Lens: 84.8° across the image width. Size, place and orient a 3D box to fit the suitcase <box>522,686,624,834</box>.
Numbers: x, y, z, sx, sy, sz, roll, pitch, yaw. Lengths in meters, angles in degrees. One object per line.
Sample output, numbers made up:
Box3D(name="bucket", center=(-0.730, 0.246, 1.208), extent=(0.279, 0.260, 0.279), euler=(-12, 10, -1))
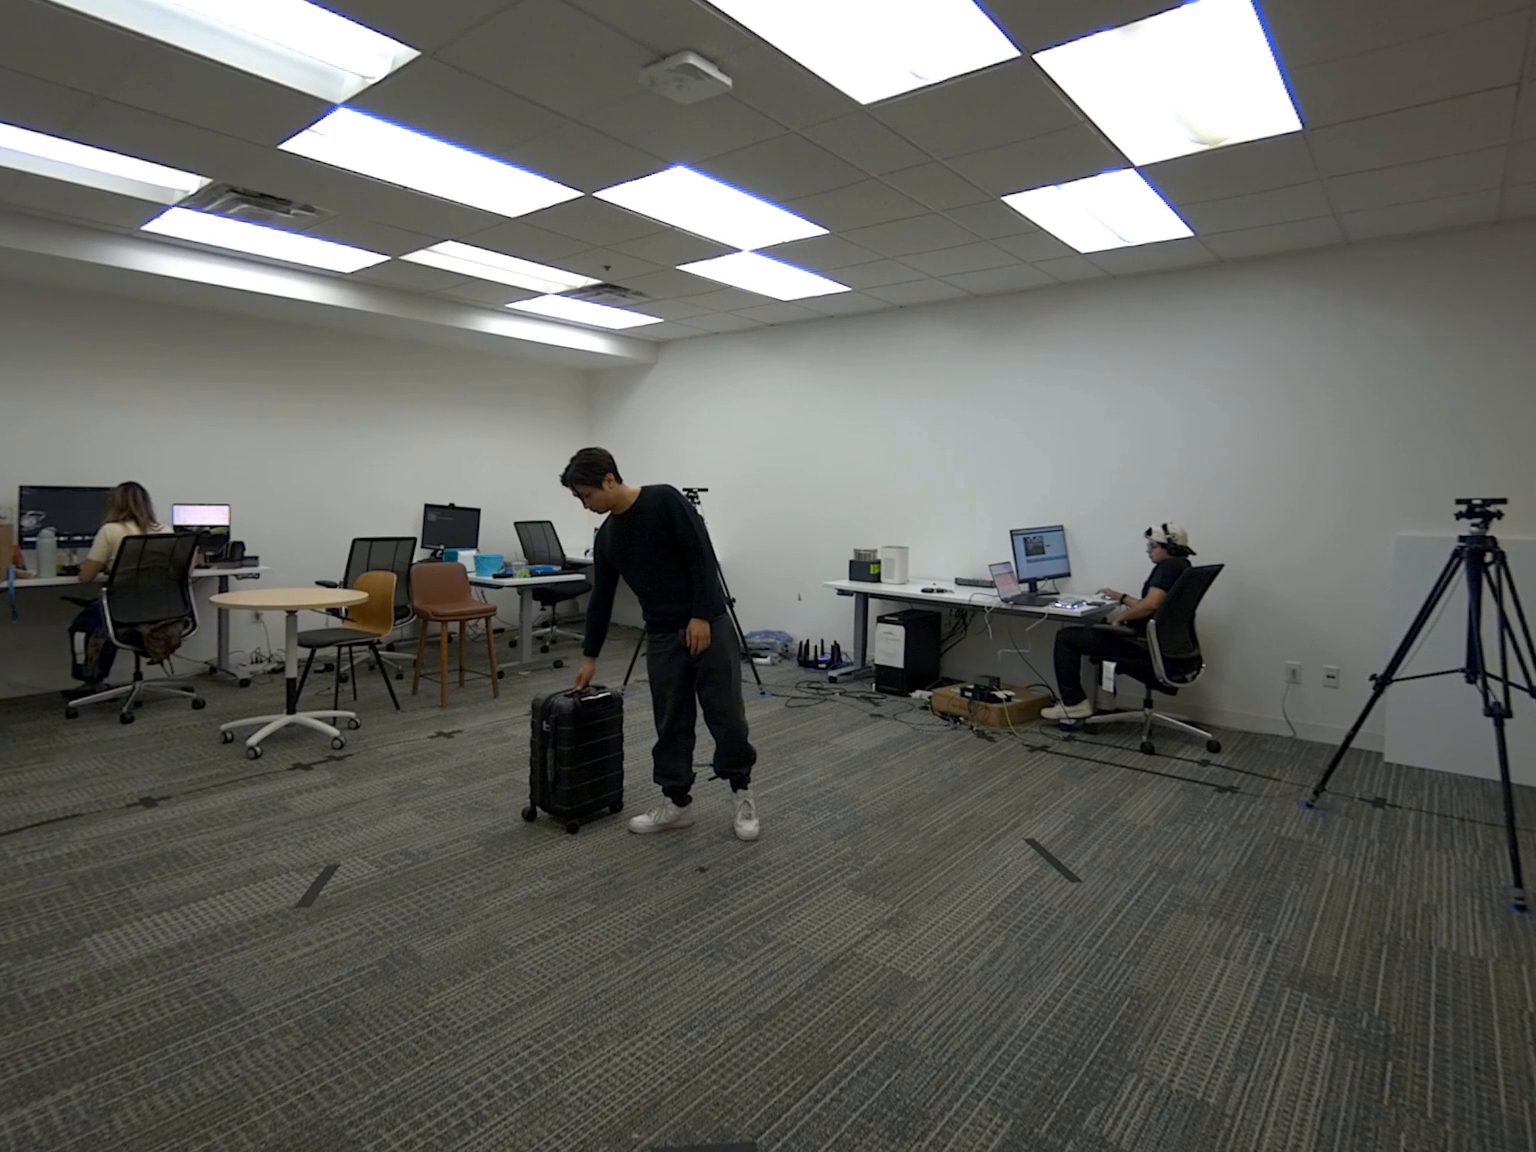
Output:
Box3D(name="suitcase", center=(-0.821, 0.738, 3.593), extent=(0.256, 0.548, 0.364), euler=(4, 4, 38))
